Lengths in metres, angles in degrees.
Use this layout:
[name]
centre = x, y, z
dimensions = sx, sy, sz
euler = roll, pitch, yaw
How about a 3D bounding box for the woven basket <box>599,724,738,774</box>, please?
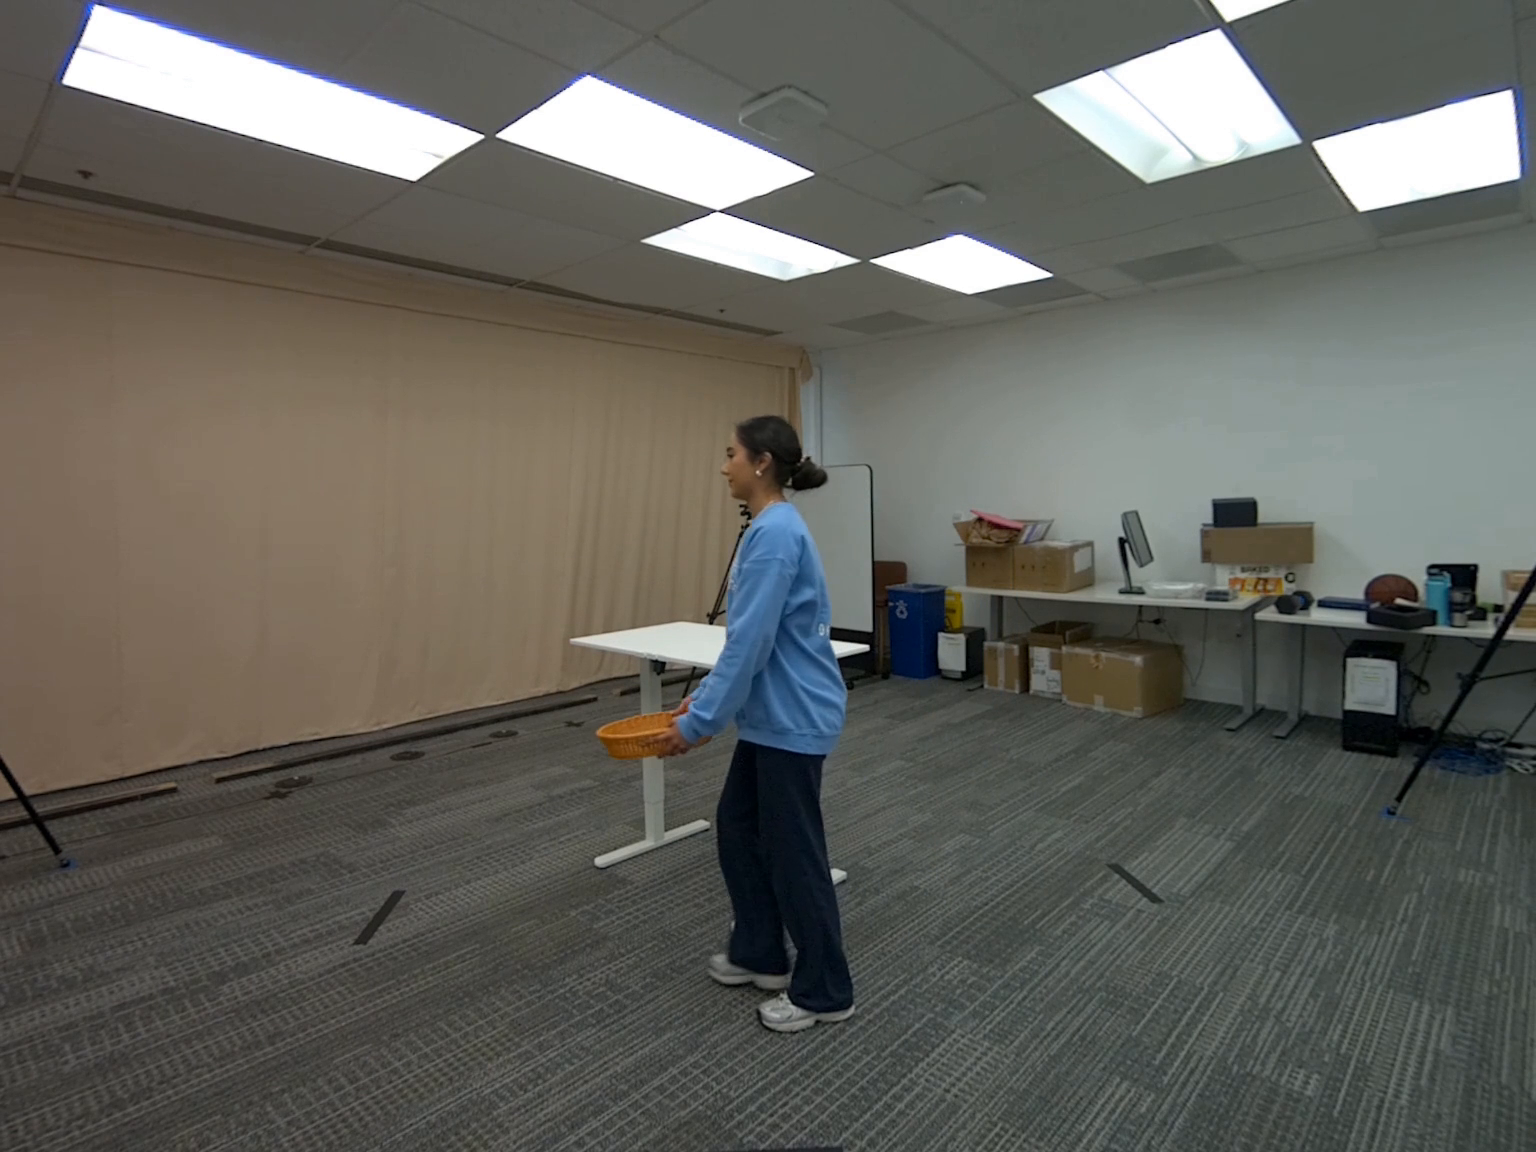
[woven basket]
centre = -0.277, 0.439, 2.320
dimensions = 0.346, 0.073, 0.255
euler = -9, 2, -12
